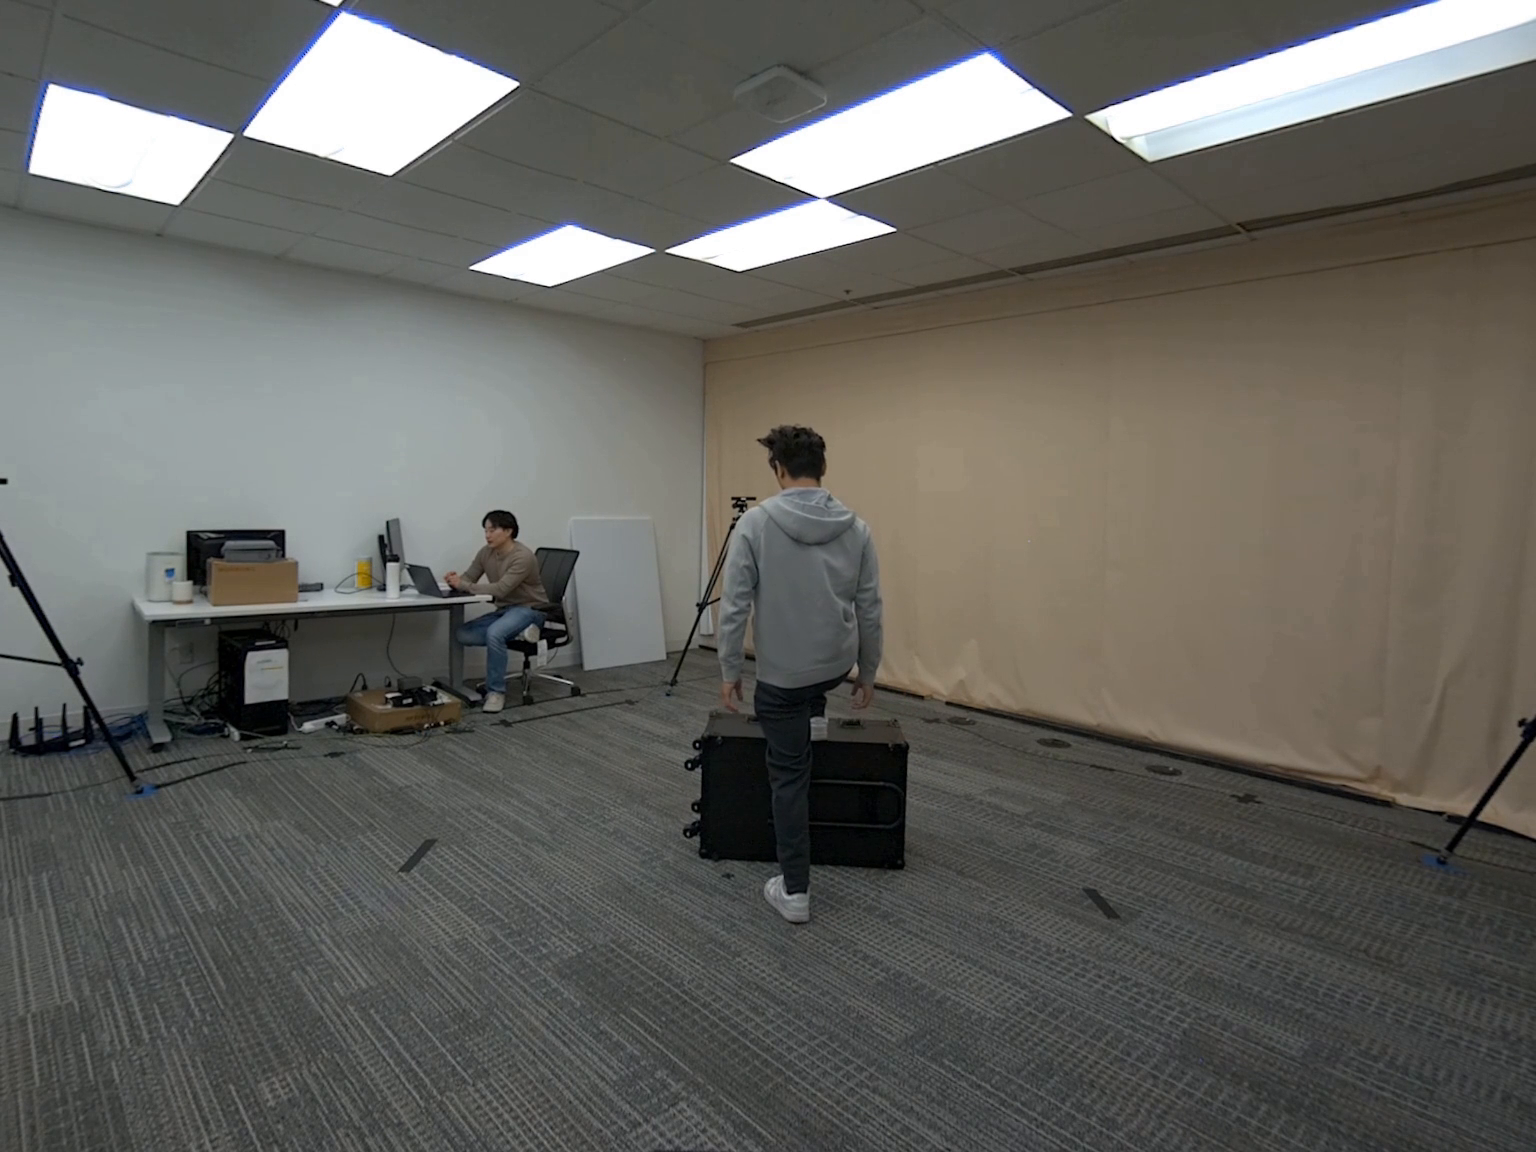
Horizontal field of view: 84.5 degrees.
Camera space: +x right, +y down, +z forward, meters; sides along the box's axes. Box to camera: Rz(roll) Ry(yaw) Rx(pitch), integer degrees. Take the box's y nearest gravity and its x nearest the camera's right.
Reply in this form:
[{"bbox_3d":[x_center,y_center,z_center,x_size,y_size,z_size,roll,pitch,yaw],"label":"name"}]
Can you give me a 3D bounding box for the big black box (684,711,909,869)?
[{"bbox_3d":[0.099,0.848,3.370,0.865,0.520,0.396,2,4,4],"label":"big black box"}]
